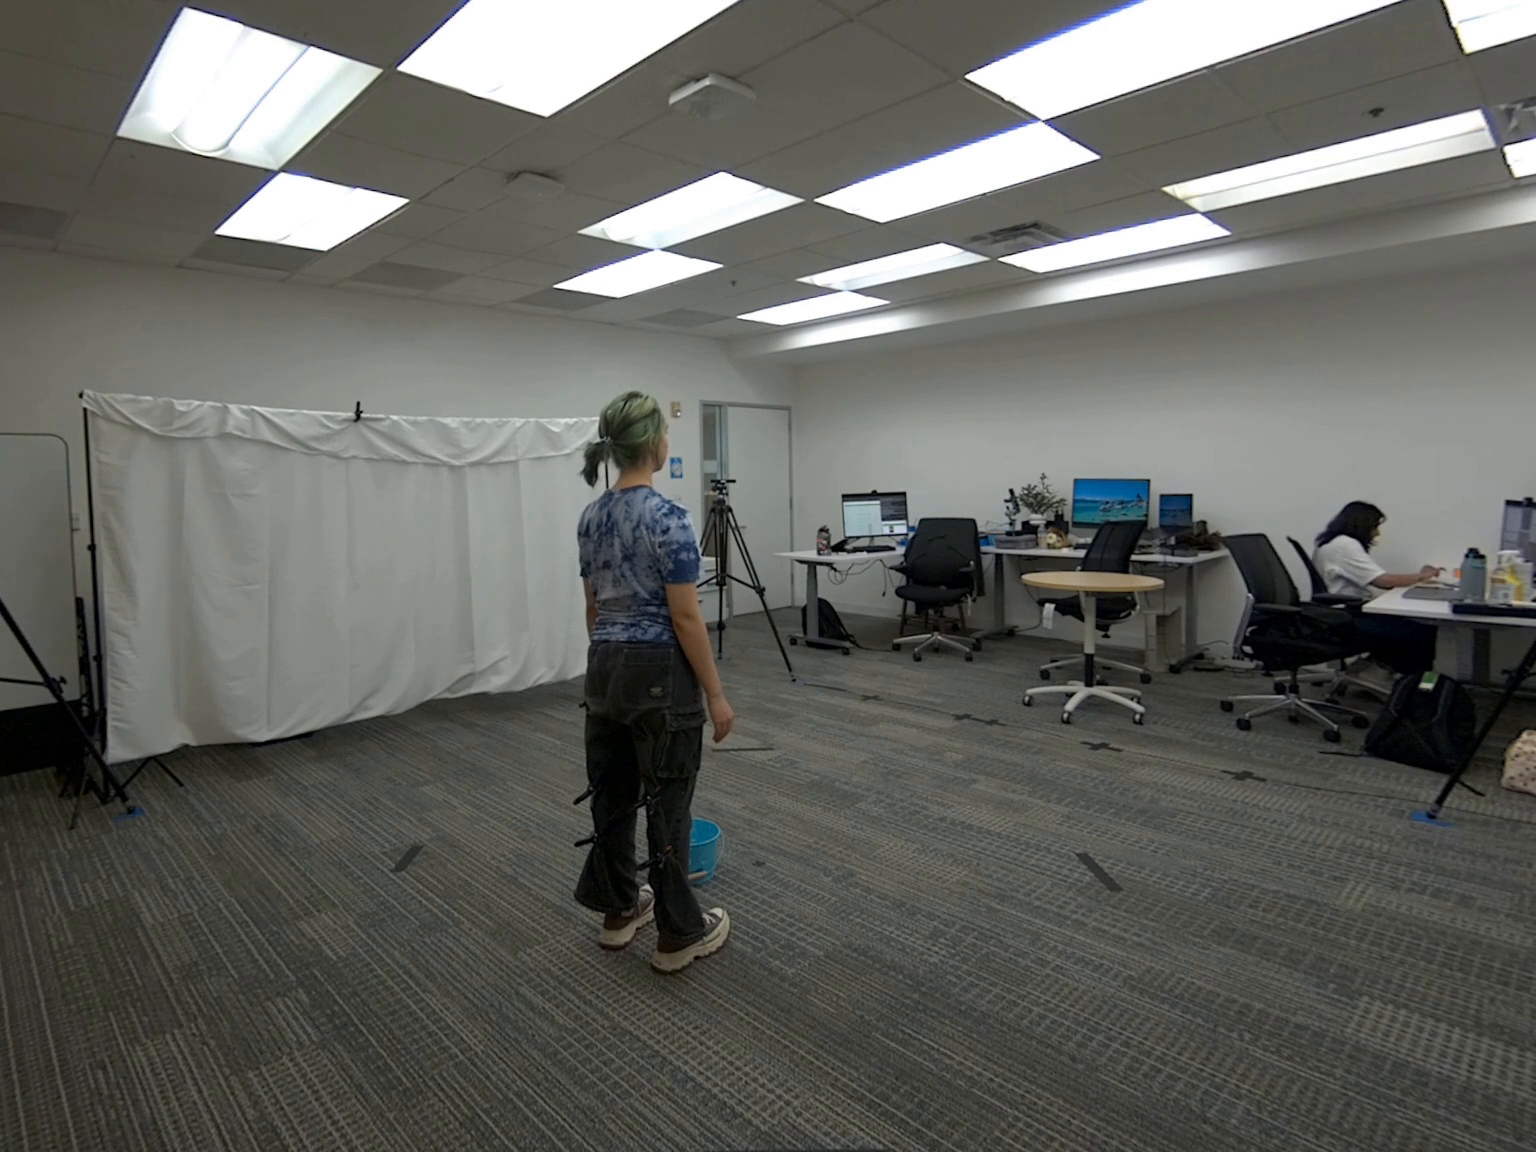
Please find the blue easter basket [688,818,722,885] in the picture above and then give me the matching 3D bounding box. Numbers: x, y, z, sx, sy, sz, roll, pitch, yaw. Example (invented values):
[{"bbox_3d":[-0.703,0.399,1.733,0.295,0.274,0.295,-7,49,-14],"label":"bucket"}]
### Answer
[{"bbox_3d":[-0.284,0.980,3.039,0.243,0.155,0.245,-1,5,-2],"label":"blue easter basket"}]
